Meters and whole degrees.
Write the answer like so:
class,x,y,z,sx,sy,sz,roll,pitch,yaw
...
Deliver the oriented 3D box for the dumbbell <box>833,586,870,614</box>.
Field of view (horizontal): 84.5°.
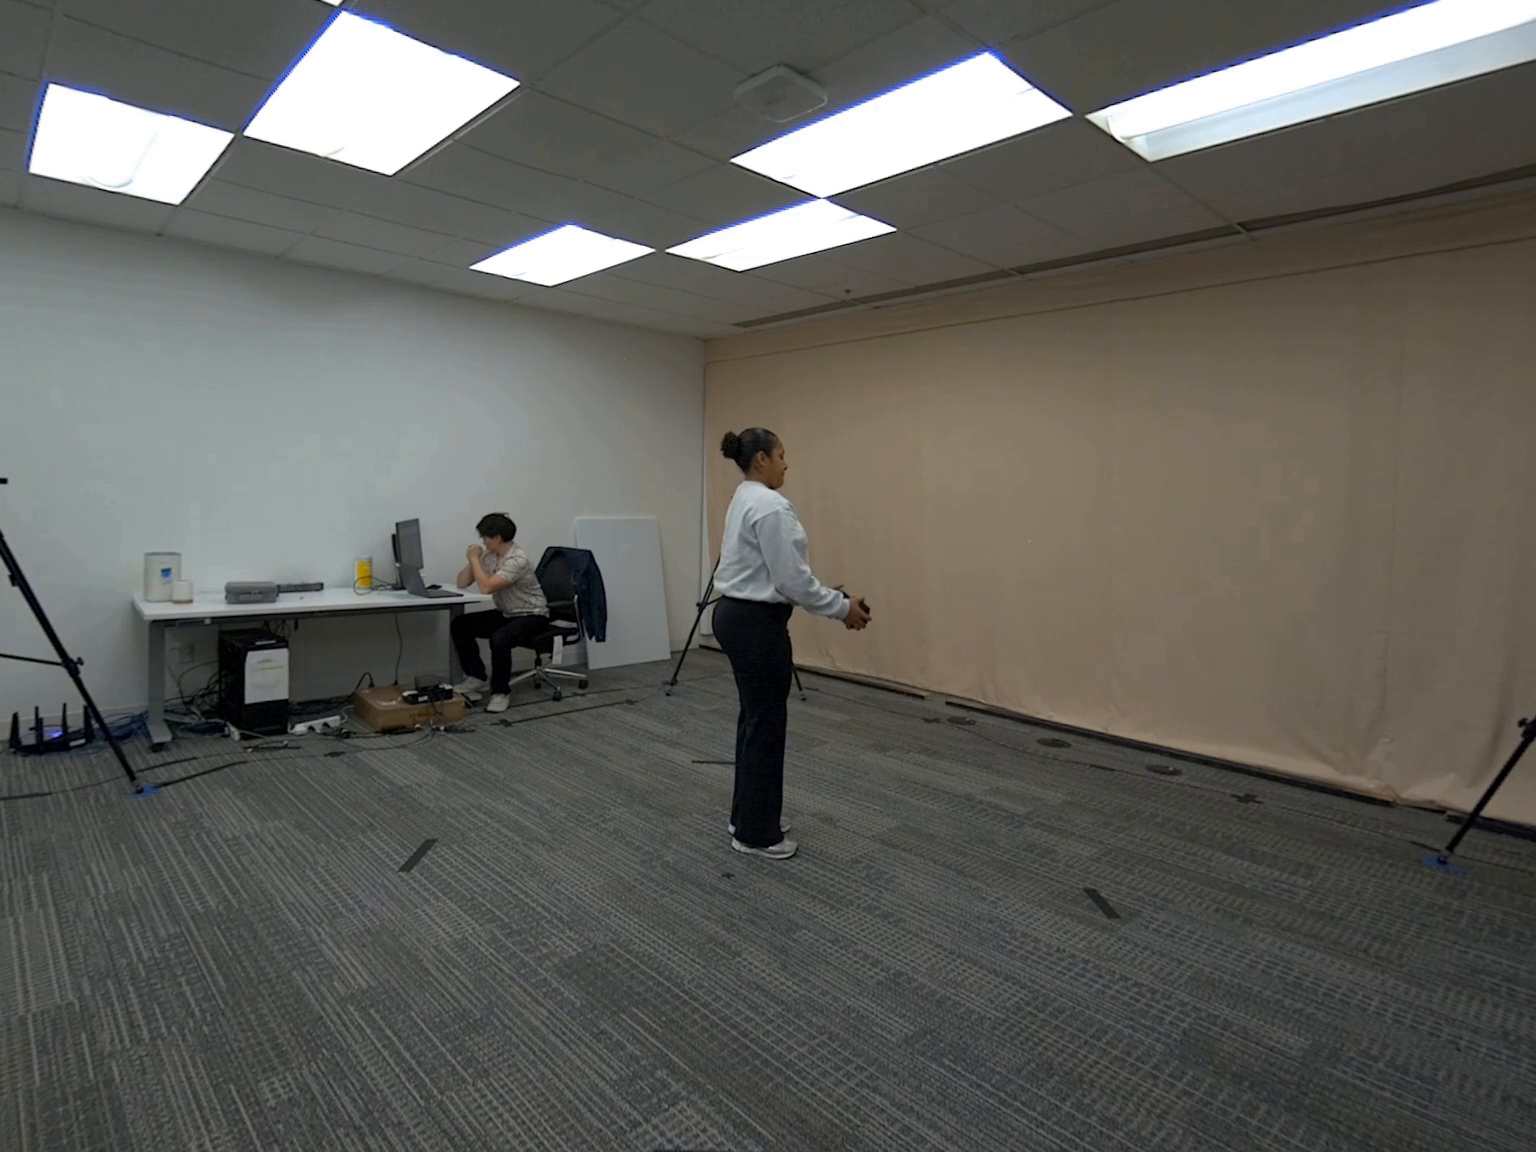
class,x,y,z,sx,sy,sz,roll,pitch,yaw
dumbbell,0.297,0.114,3.394,0.122,0.108,0.295,-18,3,-10
